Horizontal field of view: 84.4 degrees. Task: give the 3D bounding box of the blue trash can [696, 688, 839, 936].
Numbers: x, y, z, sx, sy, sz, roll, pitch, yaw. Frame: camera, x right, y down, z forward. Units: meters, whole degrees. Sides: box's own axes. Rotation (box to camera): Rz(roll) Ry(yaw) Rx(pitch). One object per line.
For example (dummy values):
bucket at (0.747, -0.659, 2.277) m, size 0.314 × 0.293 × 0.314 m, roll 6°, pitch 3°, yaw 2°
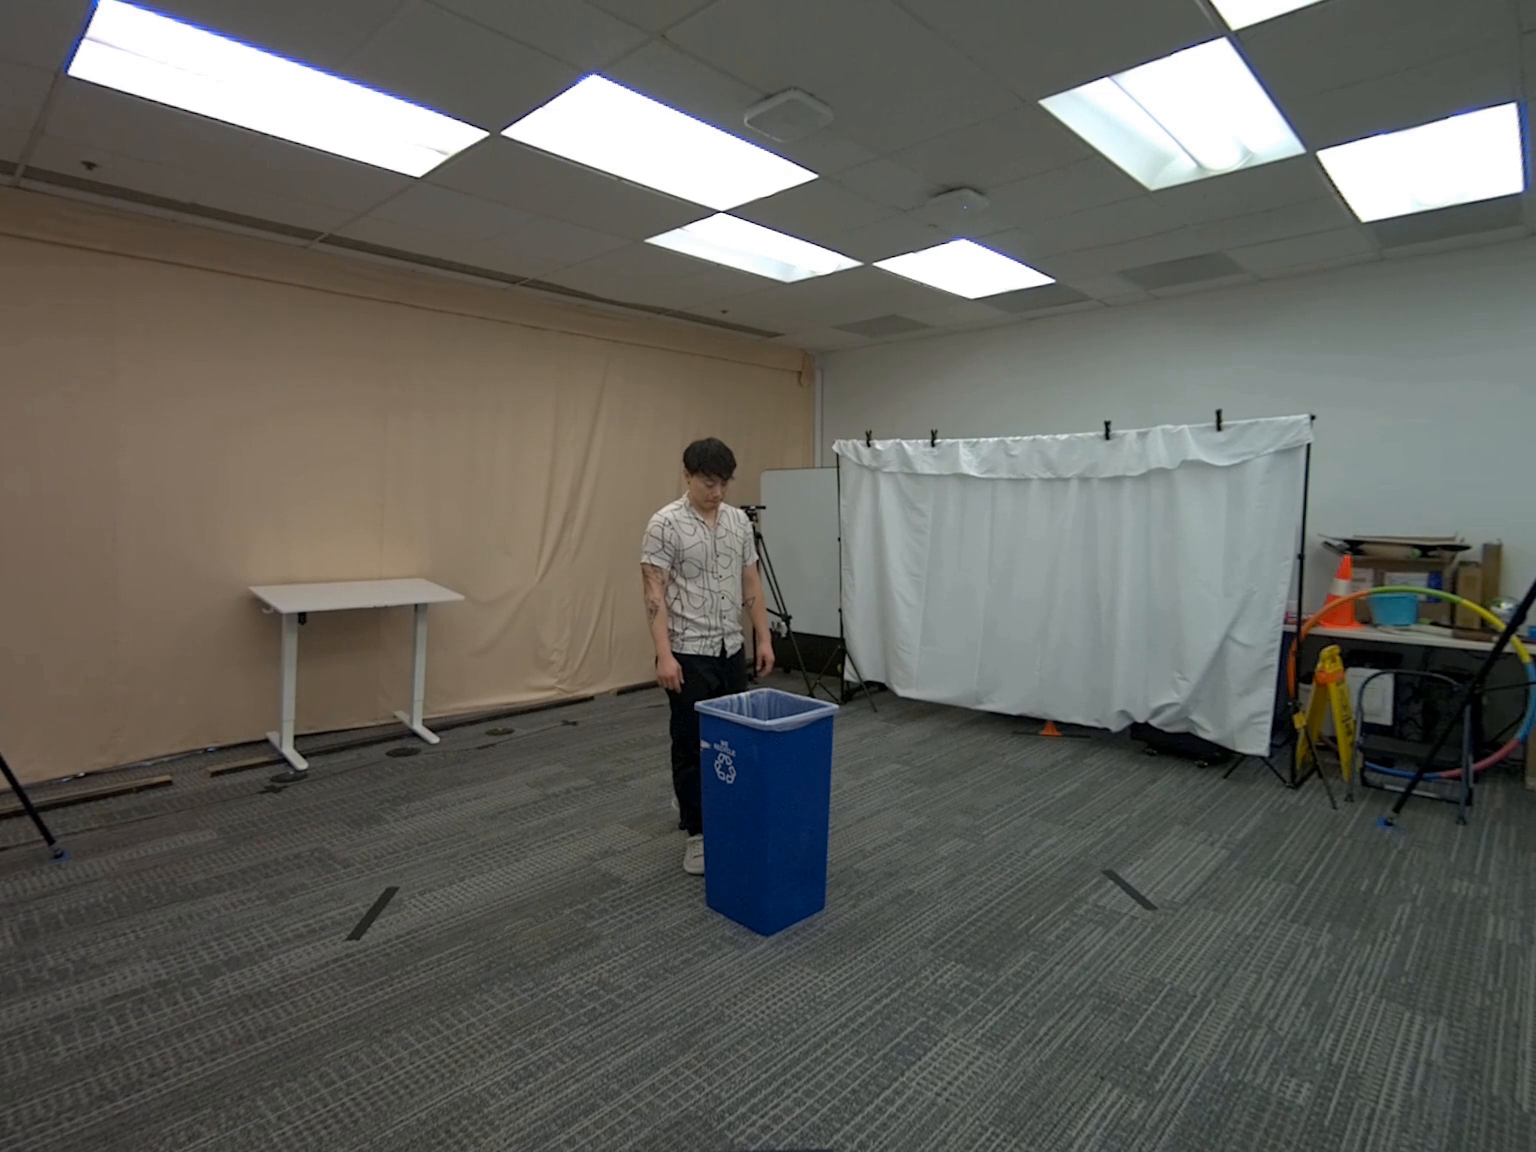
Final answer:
blue trash can at (-0.003, 0.794, 2.891) m, size 0.362 × 0.712 × 0.391 m, roll -3°, pitch 5°, yaw -45°
